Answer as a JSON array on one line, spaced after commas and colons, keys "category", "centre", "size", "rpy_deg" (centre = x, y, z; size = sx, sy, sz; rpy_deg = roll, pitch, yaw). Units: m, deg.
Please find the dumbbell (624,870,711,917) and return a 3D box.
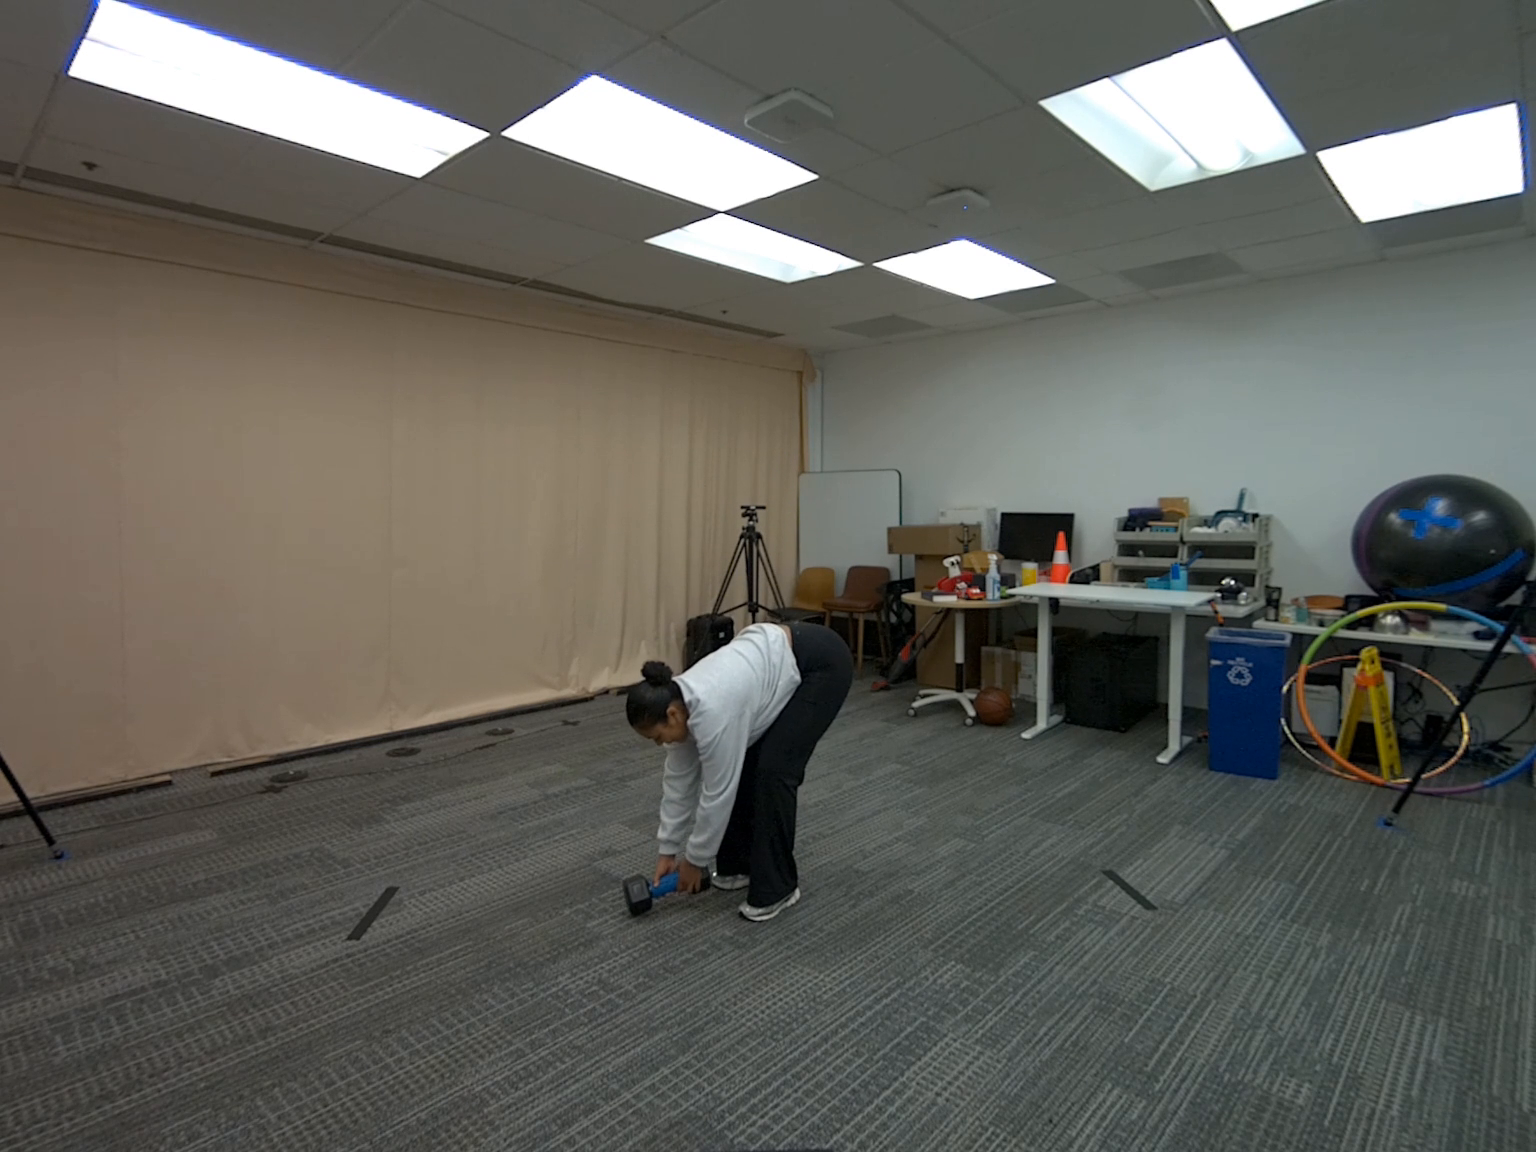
[{"category": "dumbbell", "centre": [-0.336, 1.057, 2.902], "size": [0.290, 0.126, 0.107], "rpy_deg": [-12, -28, -14]}]
